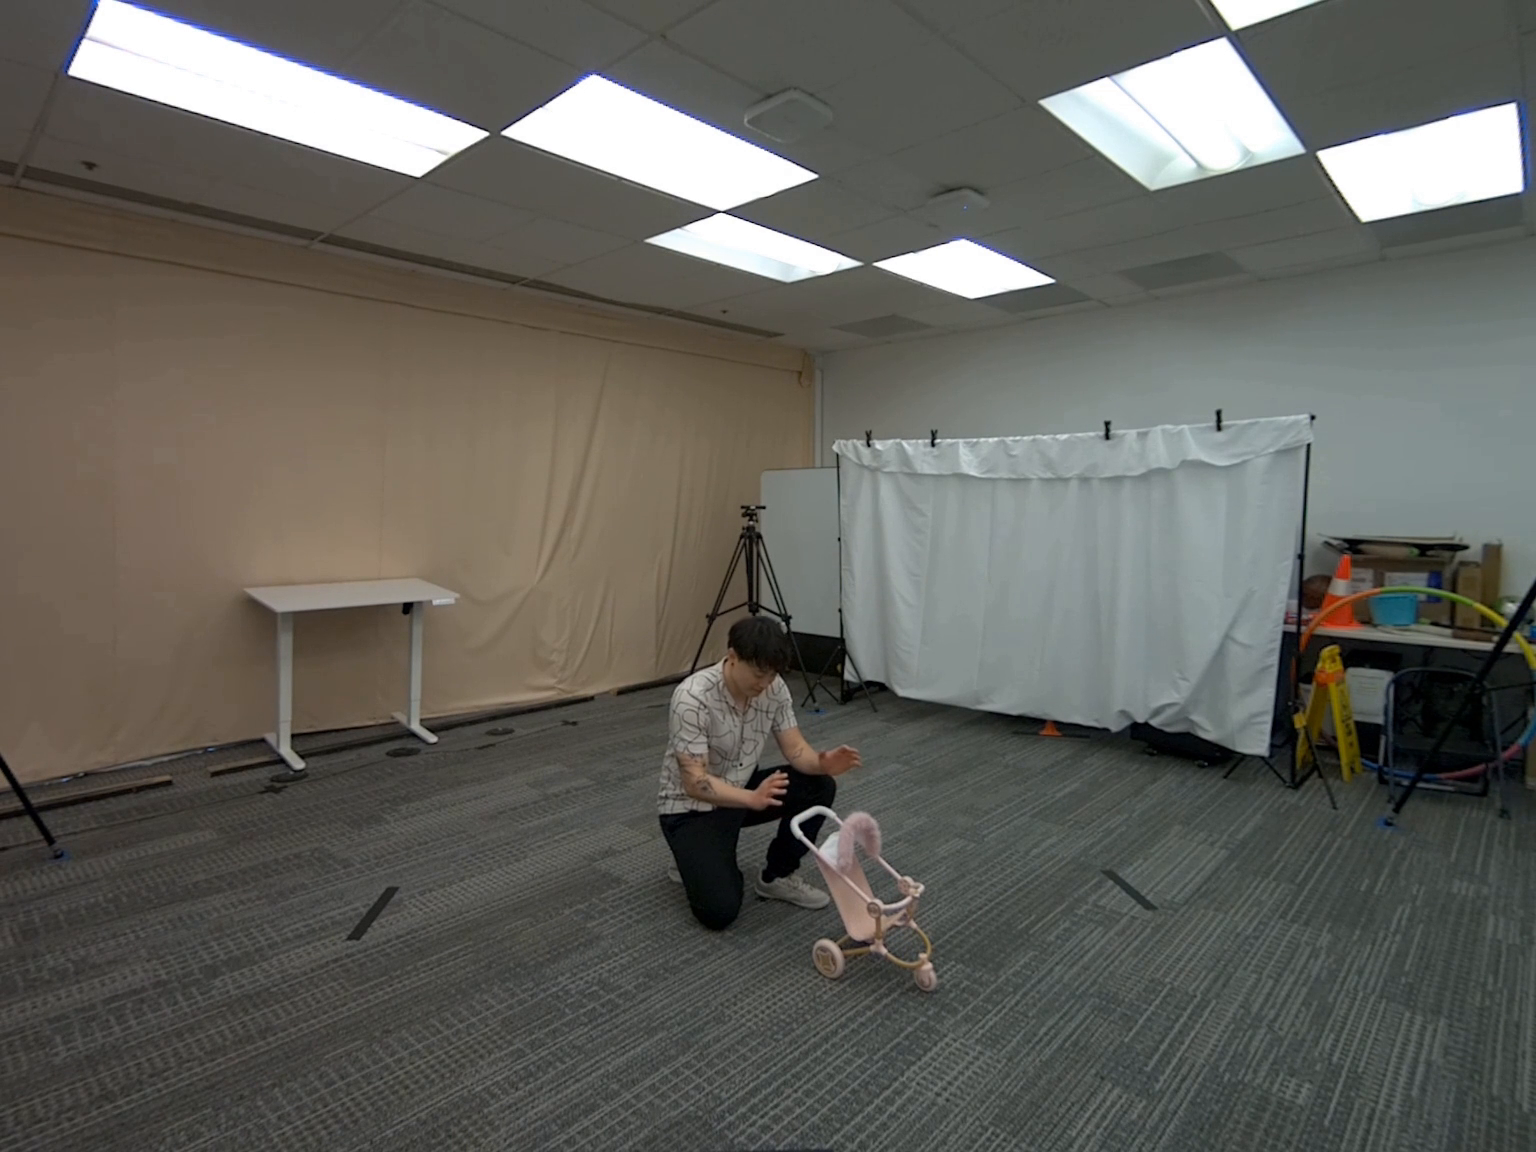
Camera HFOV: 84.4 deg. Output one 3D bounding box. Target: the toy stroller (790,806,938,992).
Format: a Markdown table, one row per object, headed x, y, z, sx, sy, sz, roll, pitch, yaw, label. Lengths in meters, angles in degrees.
| x | y | z | sx | sy | sz | roll | pitch | yaw | label |
| --- | --- | --- | --- | --- | --- | --- | --- | --- | --- |
| 0.304 | 0.957 | 2.532 | 0.349 | 0.539 | 0.273 | -21 | -11 | 42 | toy stroller |
